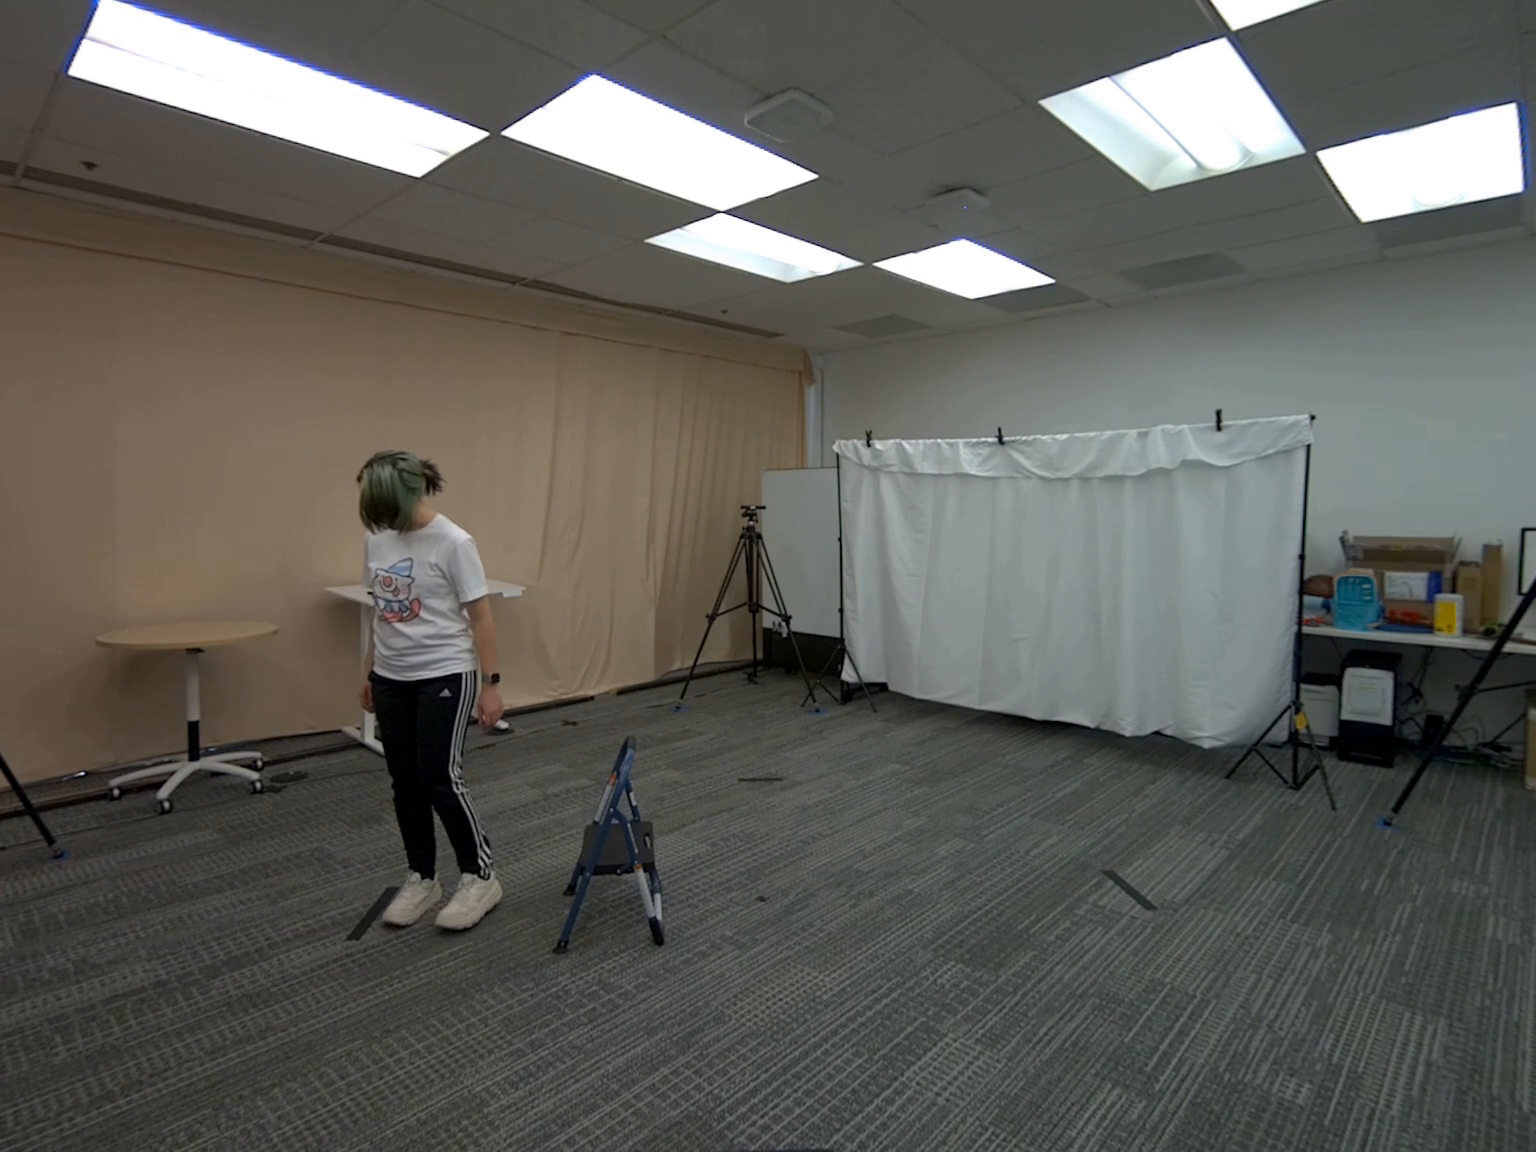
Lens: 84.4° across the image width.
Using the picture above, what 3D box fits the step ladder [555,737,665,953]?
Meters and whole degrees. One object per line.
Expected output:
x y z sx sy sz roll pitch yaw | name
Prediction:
-0.532 0.861 2.831 0.347 0.605 0.435 -1 3 -8 | step ladder
